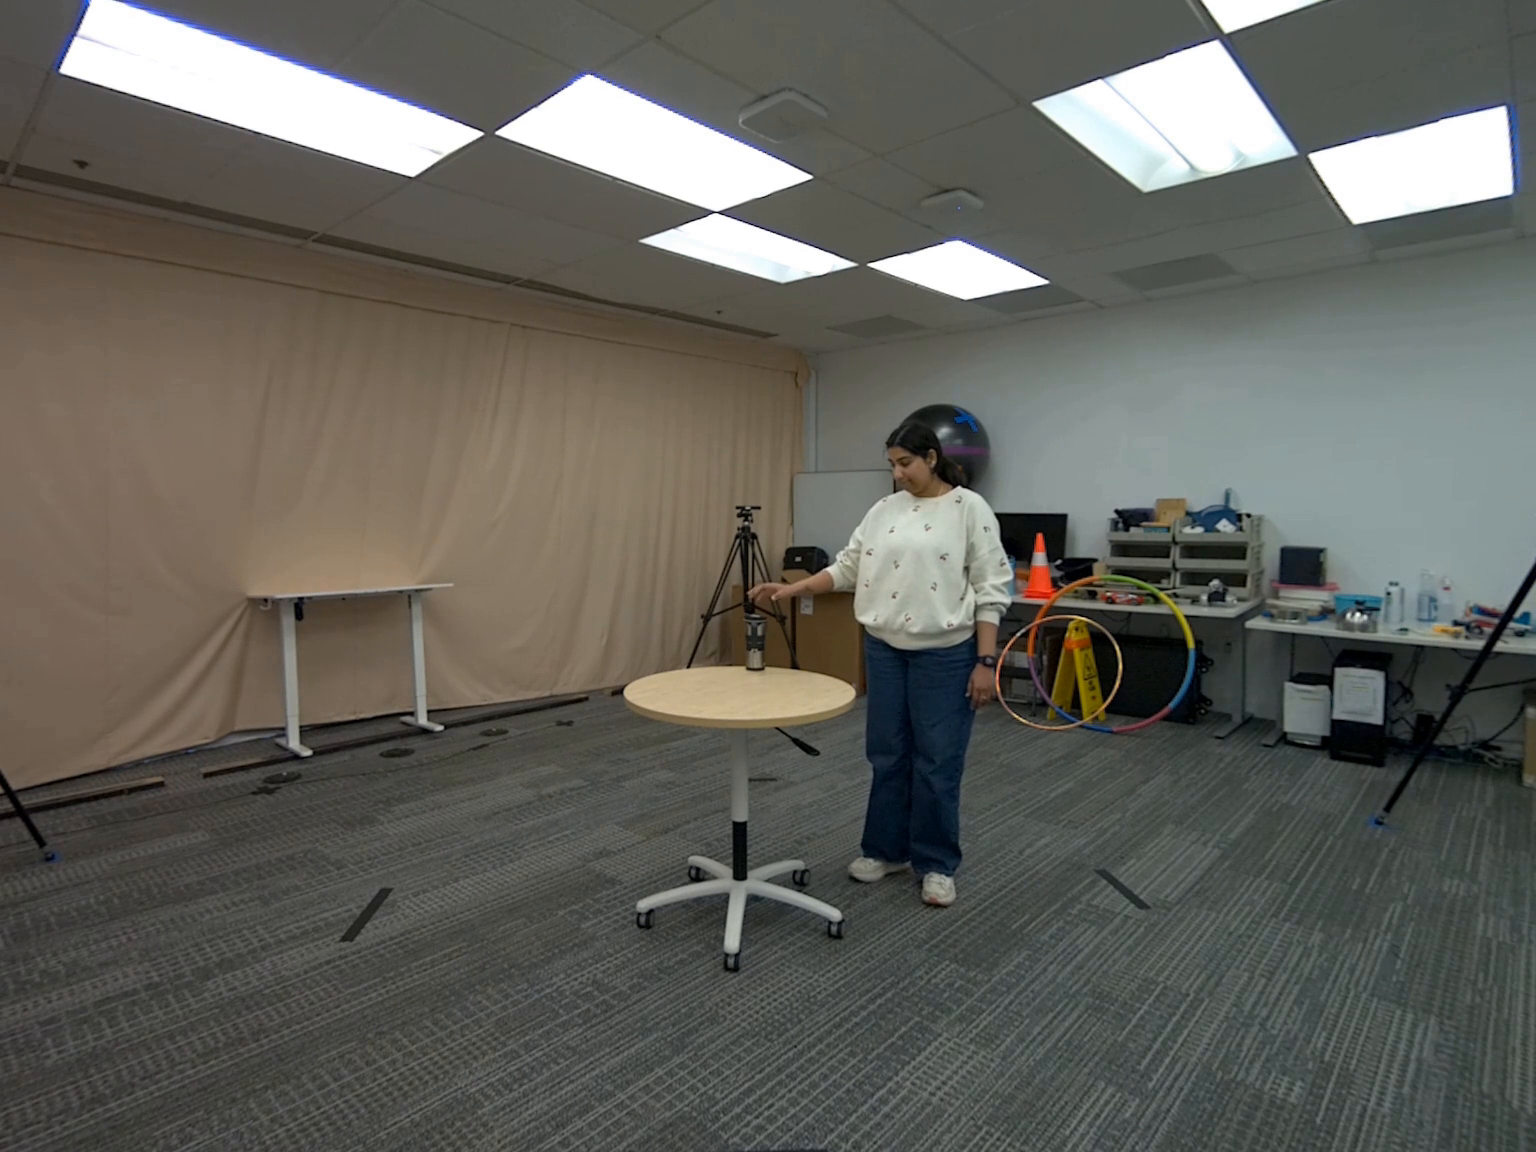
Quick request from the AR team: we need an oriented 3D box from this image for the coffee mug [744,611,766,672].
[{"bbox_3d":[-0.054,0.251,3.100,0.091,0.202,0.118,6,5,35],"label":"coffee mug"}]
